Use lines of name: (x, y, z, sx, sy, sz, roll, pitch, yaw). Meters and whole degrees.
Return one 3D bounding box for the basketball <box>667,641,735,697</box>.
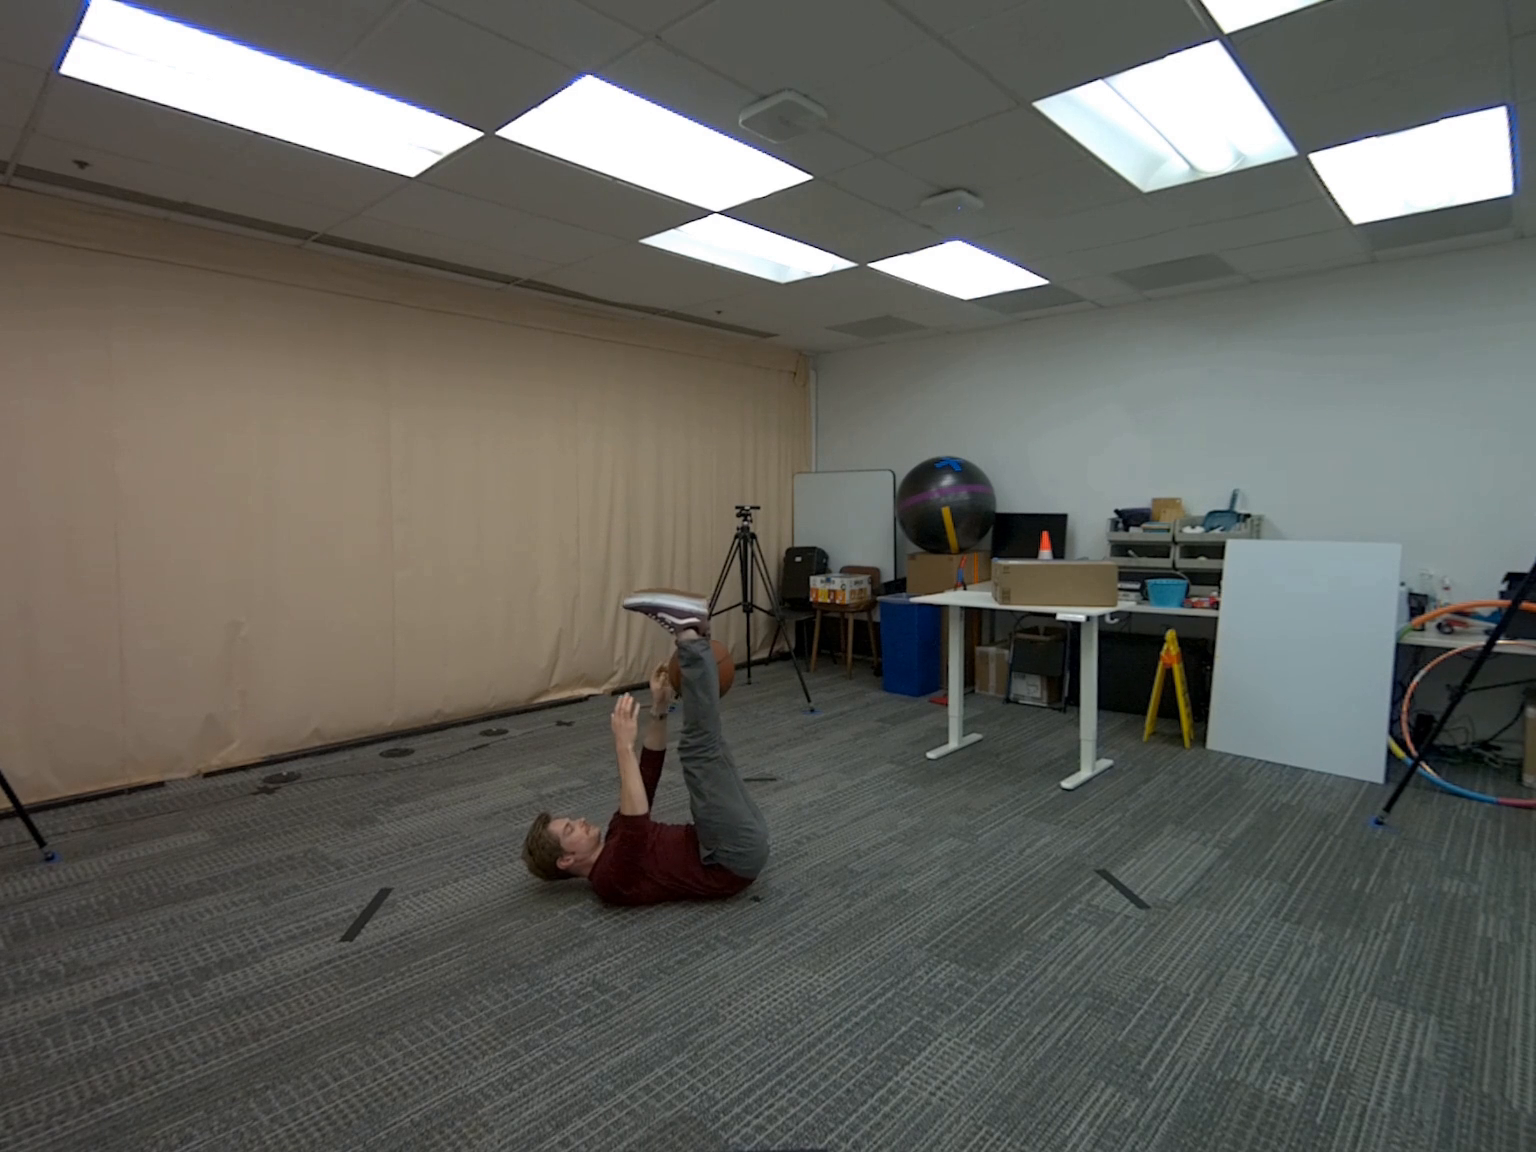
basketball: (-0.230, 0.342, 3.029, 0.236, 0.235, 0.237, 0, 4, -2)
